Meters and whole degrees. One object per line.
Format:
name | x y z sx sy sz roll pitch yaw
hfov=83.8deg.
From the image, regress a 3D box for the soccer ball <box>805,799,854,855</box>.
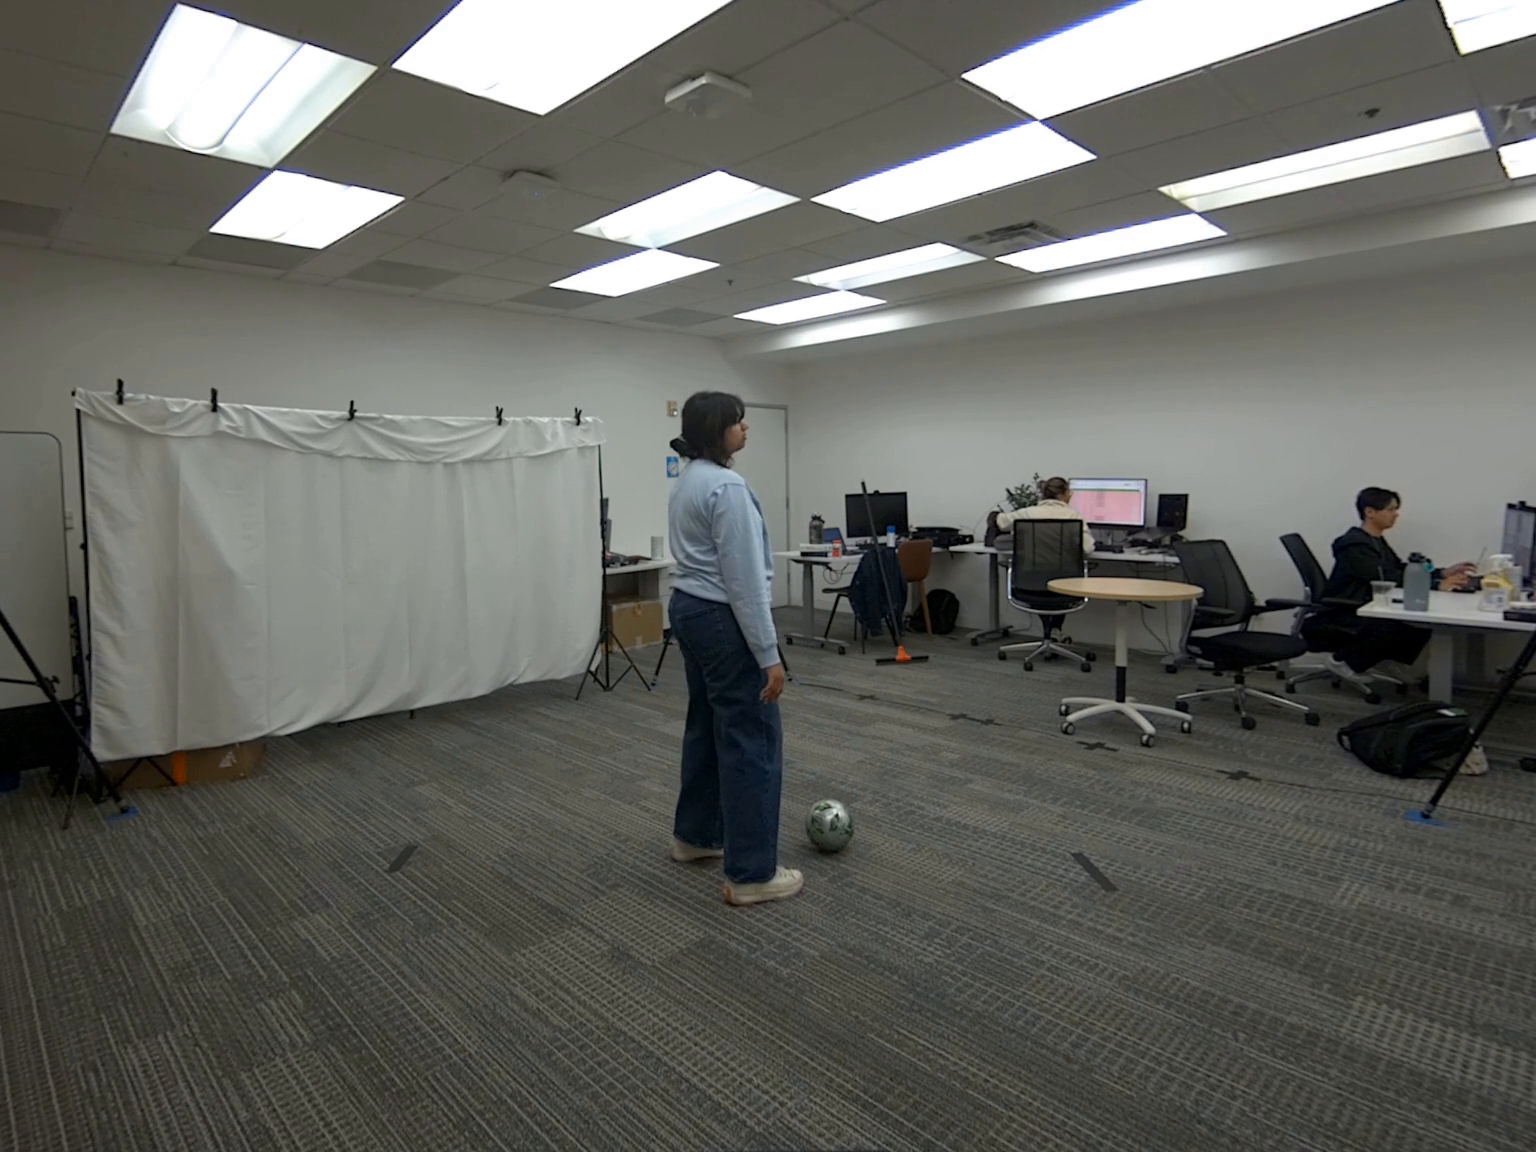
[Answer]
soccer ball | 0.234 0.936 3.210 0.187 0.187 0.188 -1 5 -2
